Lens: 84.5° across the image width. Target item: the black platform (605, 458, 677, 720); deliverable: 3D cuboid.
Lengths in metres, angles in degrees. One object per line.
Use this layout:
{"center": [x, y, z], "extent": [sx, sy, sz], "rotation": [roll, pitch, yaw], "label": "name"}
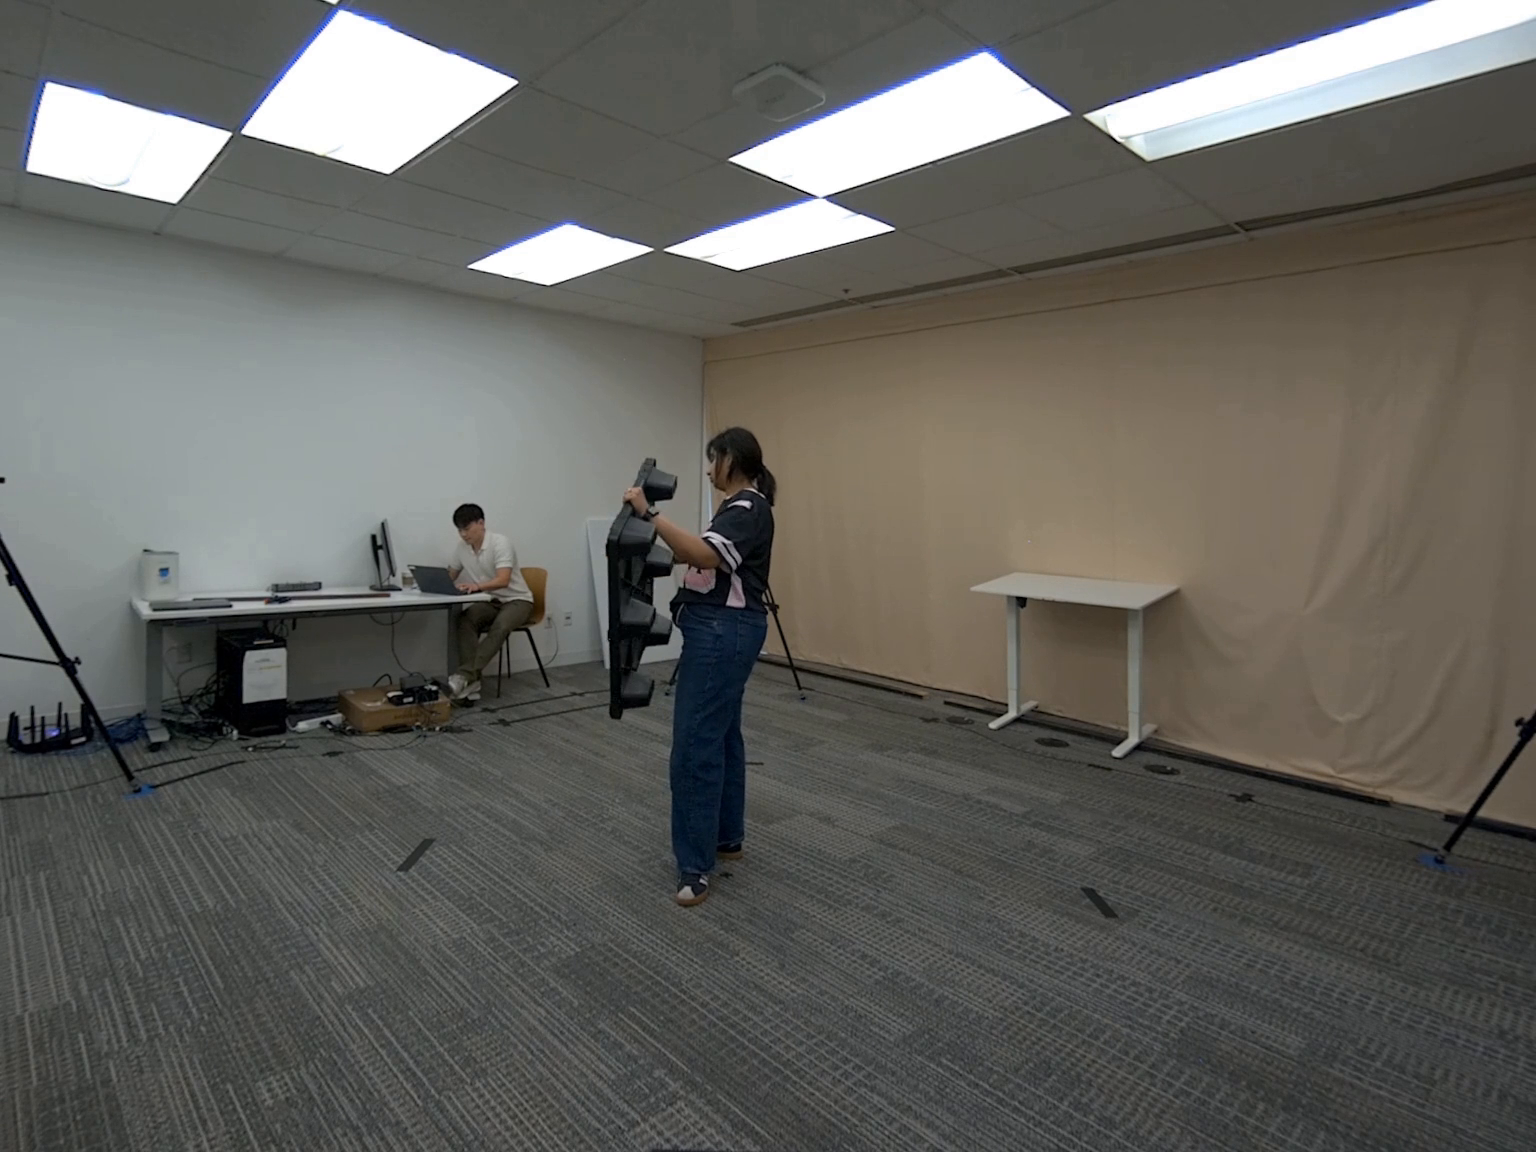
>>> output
{"center": [-0.462, 0.045, 3.143], "extent": [0.144, 0.791, 0.614], "rotation": [8, 33, 2], "label": "black platform"}
